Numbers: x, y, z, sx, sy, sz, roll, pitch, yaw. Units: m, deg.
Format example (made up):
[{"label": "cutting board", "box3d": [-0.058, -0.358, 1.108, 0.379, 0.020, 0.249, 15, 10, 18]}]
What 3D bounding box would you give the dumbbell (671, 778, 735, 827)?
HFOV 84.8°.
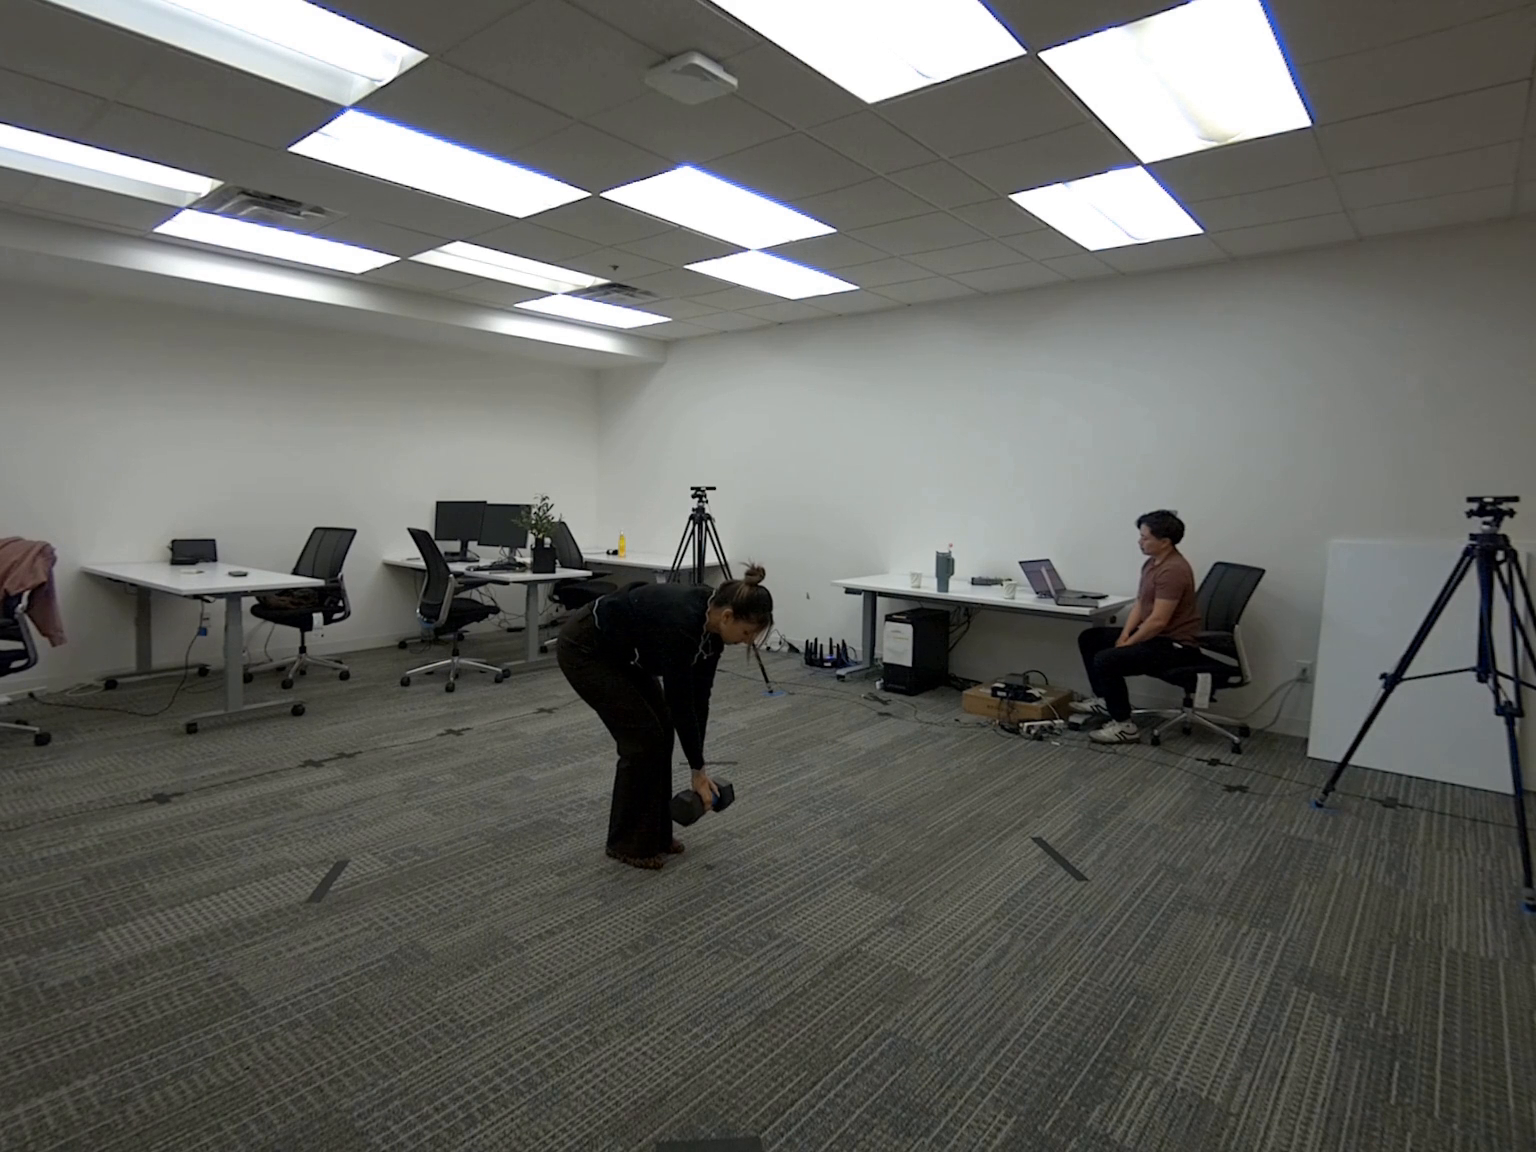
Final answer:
[{"label": "dumbbell", "box3d": [-0.256, 0.830, 3.134, 0.127, 0.108, 0.285, 19, 11, 30]}]
